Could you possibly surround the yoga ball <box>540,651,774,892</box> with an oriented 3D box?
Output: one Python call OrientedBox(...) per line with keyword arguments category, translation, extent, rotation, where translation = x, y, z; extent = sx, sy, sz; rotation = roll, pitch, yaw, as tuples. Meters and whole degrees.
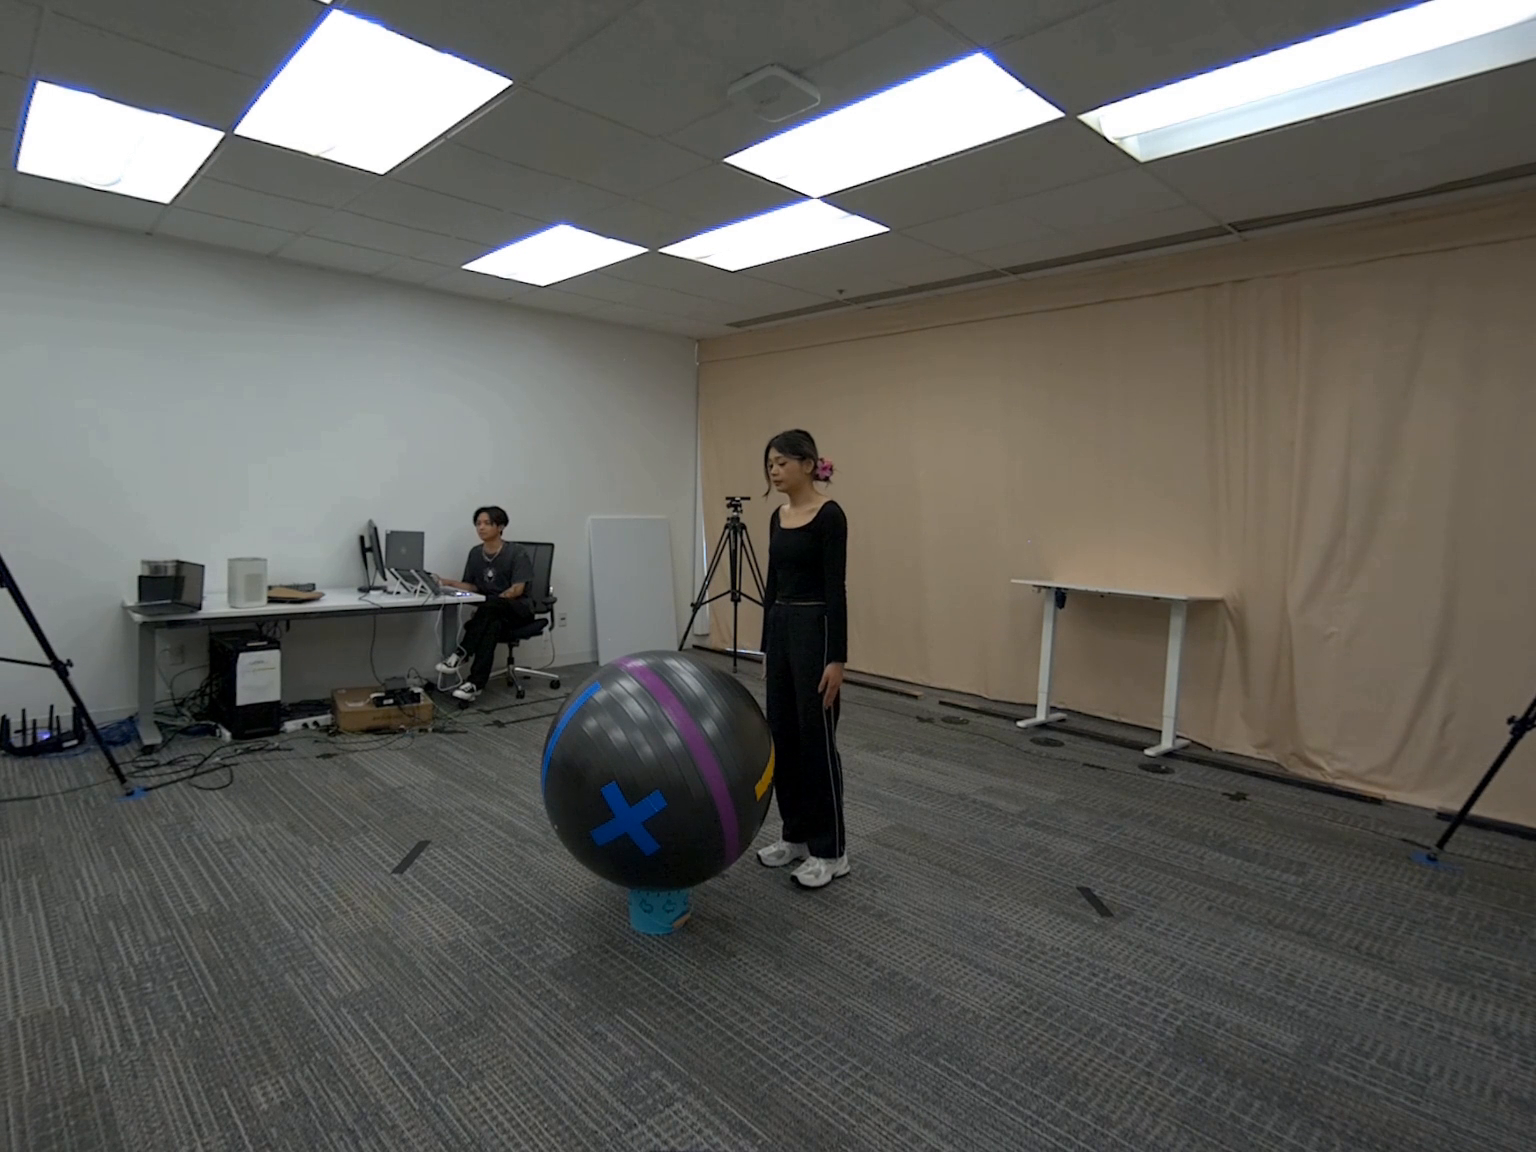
OrientedBox(category="yoga ball", translation=(-0.356, 0.631, 2.737), extent=(0.757, 0.756, 0.761), rotation=(1, 4, -1))
